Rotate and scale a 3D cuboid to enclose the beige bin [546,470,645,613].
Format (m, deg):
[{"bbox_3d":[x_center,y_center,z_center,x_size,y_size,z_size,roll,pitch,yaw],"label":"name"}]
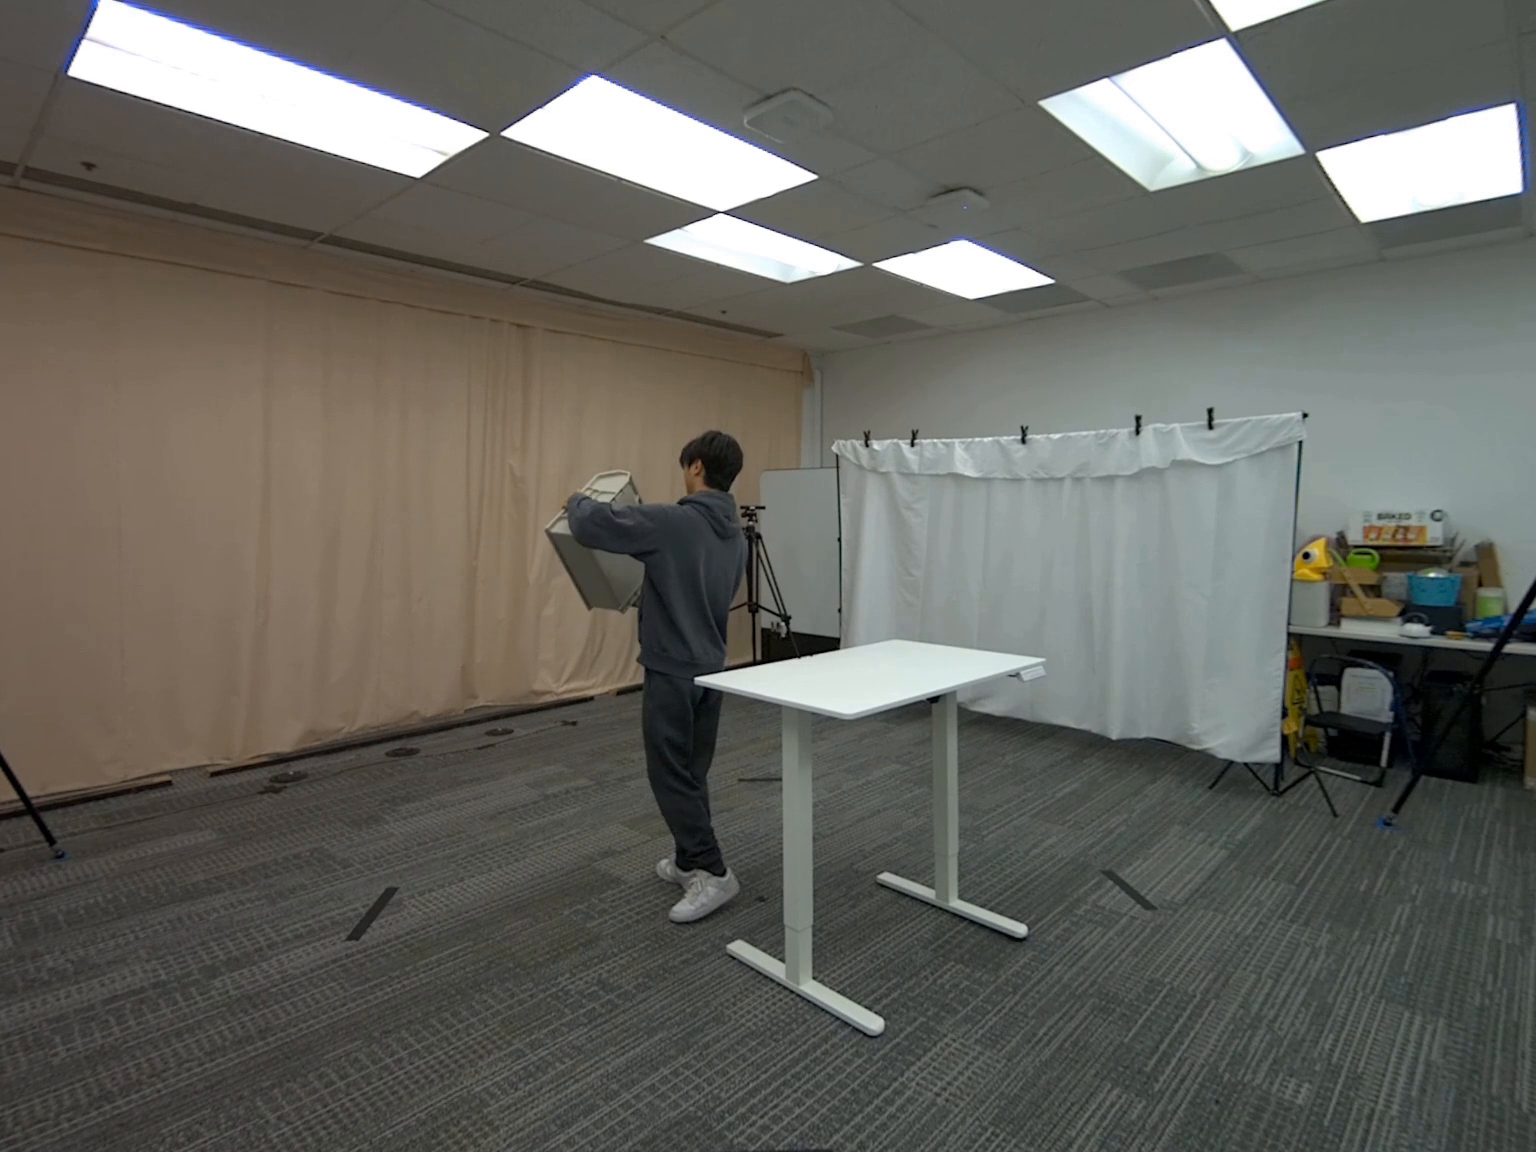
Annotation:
[{"bbox_3d":[-0.605,-0.129,3.264,0.195,0.411,0.376,6,45,30],"label":"beige bin"}]
